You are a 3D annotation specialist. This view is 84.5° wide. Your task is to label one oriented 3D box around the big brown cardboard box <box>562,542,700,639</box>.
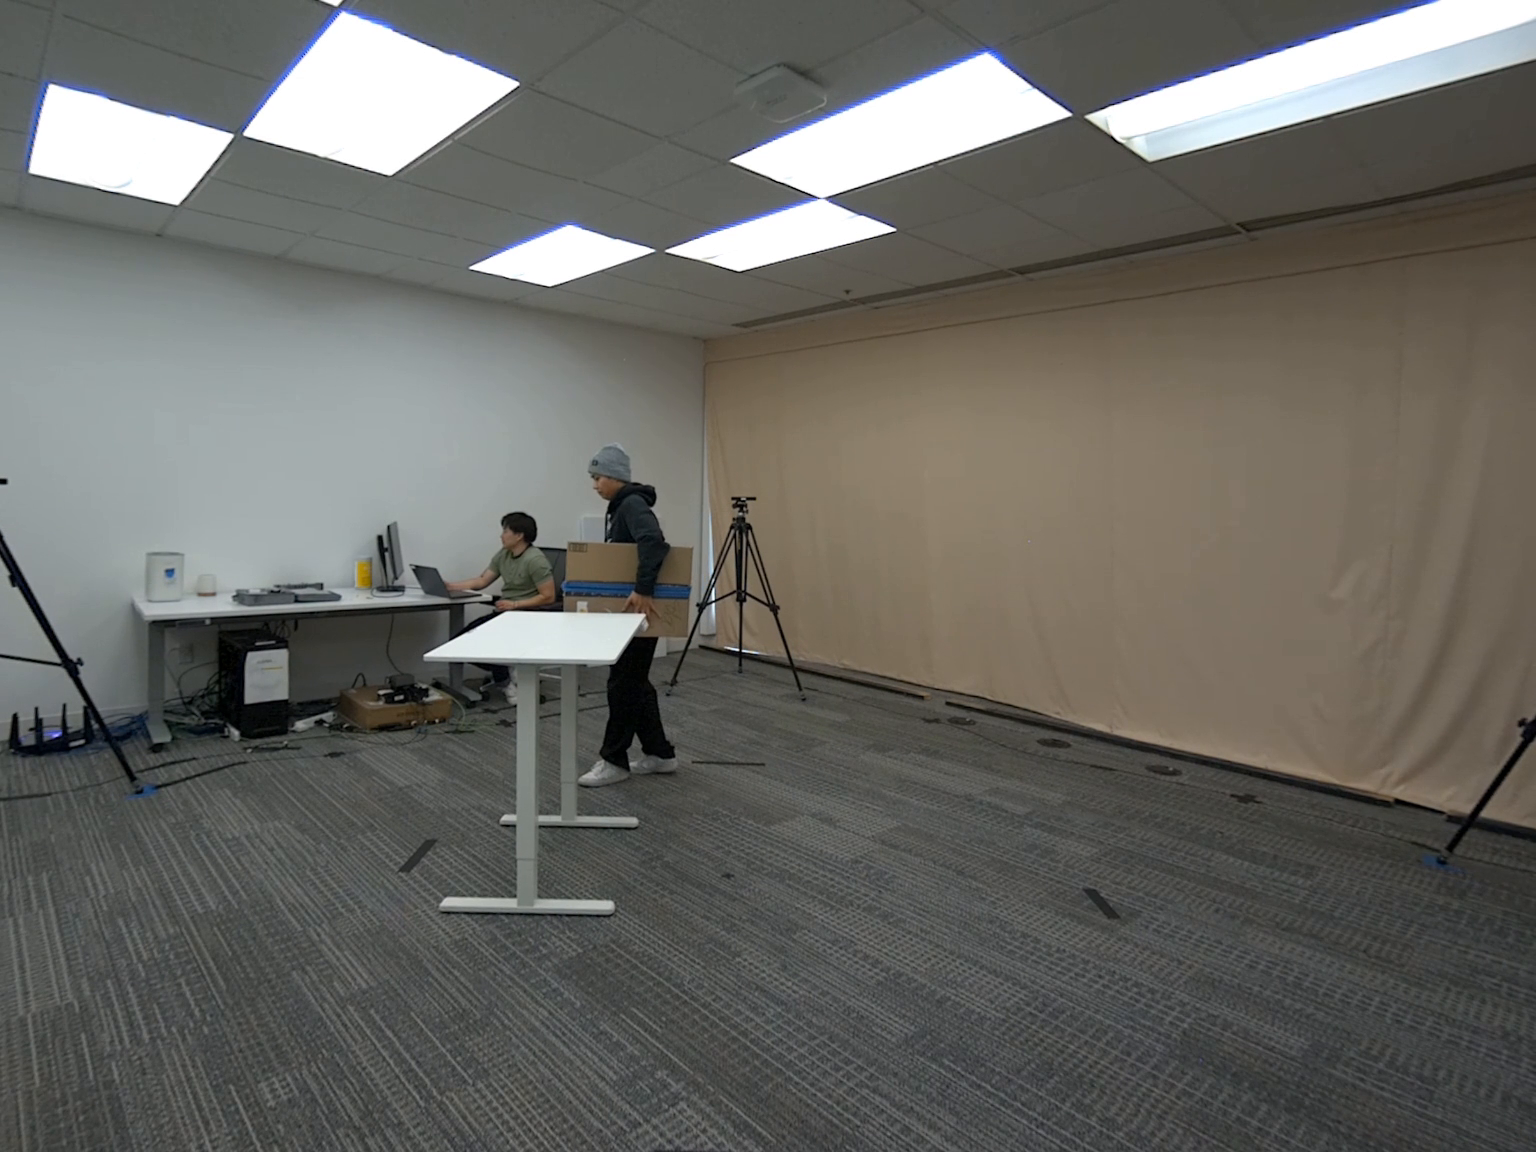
[{"bbox_3d":[-0.661,0.057,3.882,0.583,0.417,0.235,2,1,-12],"label":"big brown cardboard box"}]
